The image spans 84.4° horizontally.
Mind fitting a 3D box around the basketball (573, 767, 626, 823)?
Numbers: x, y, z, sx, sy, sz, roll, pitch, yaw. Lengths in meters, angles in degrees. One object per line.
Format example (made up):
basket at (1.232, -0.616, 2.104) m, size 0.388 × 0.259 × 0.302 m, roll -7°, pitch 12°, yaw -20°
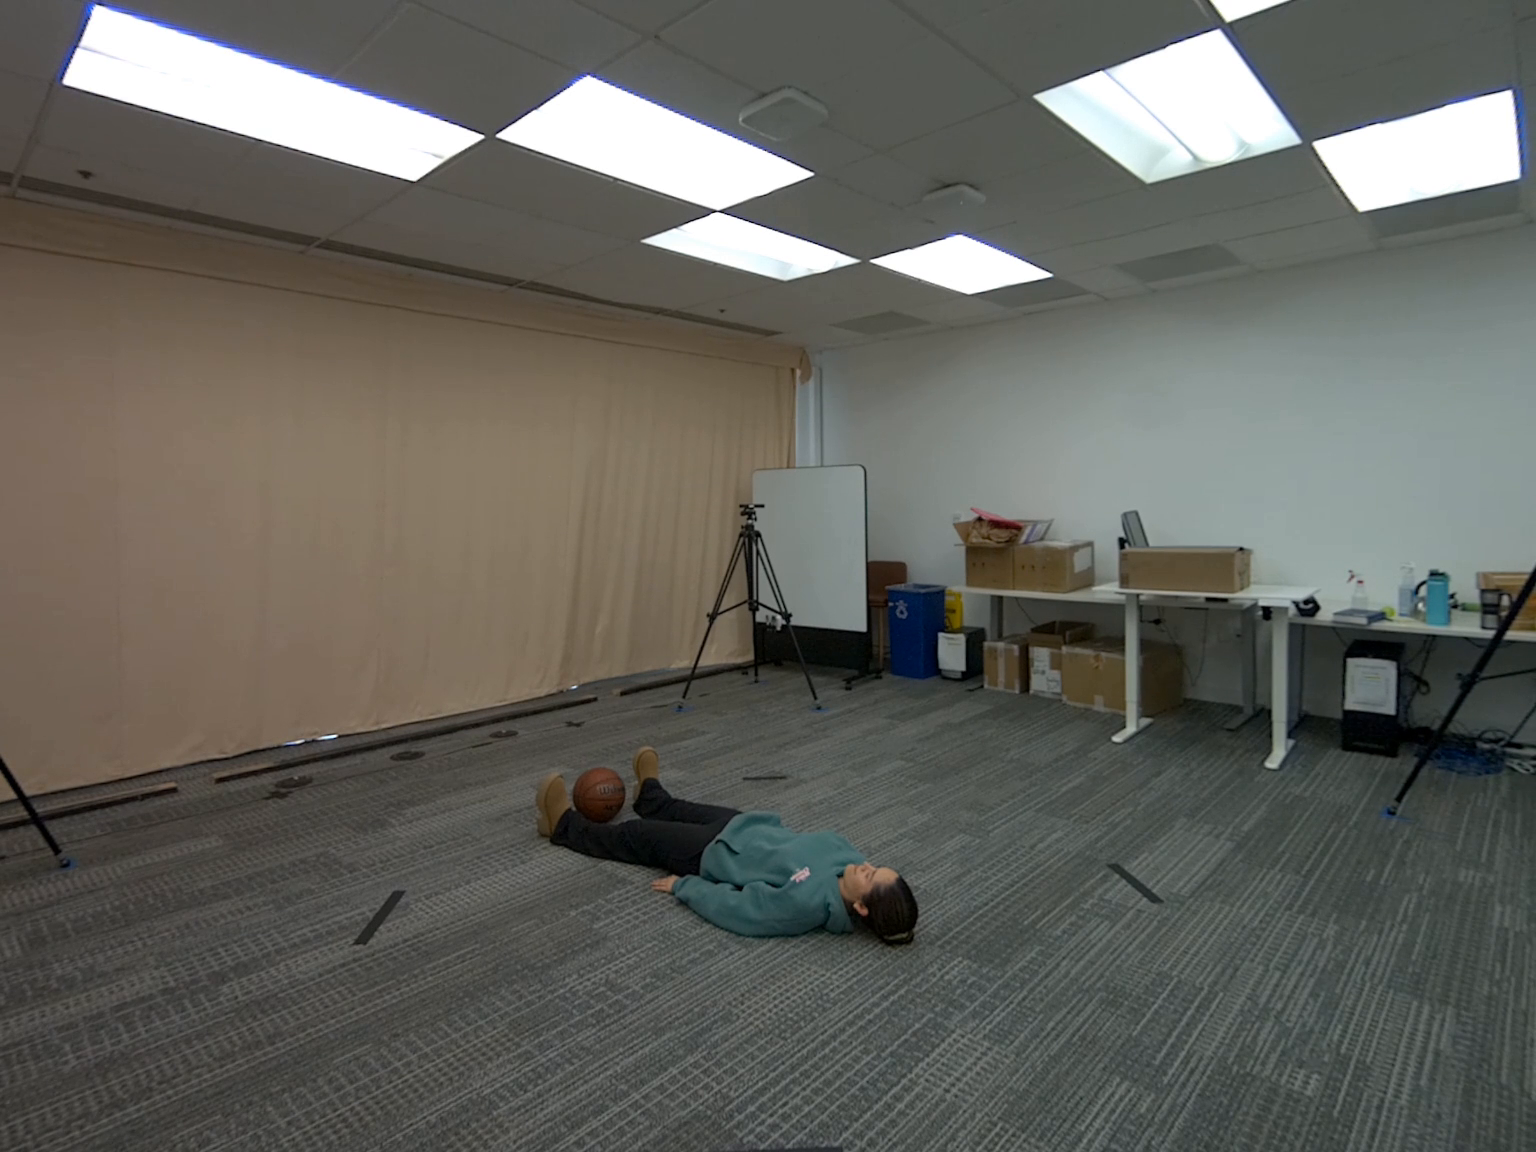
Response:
basketball at (-0.752, 0.973, 3.749) m, size 0.236 × 0.235 × 0.237 m, roll 0°, pitch 4°, yaw -2°
